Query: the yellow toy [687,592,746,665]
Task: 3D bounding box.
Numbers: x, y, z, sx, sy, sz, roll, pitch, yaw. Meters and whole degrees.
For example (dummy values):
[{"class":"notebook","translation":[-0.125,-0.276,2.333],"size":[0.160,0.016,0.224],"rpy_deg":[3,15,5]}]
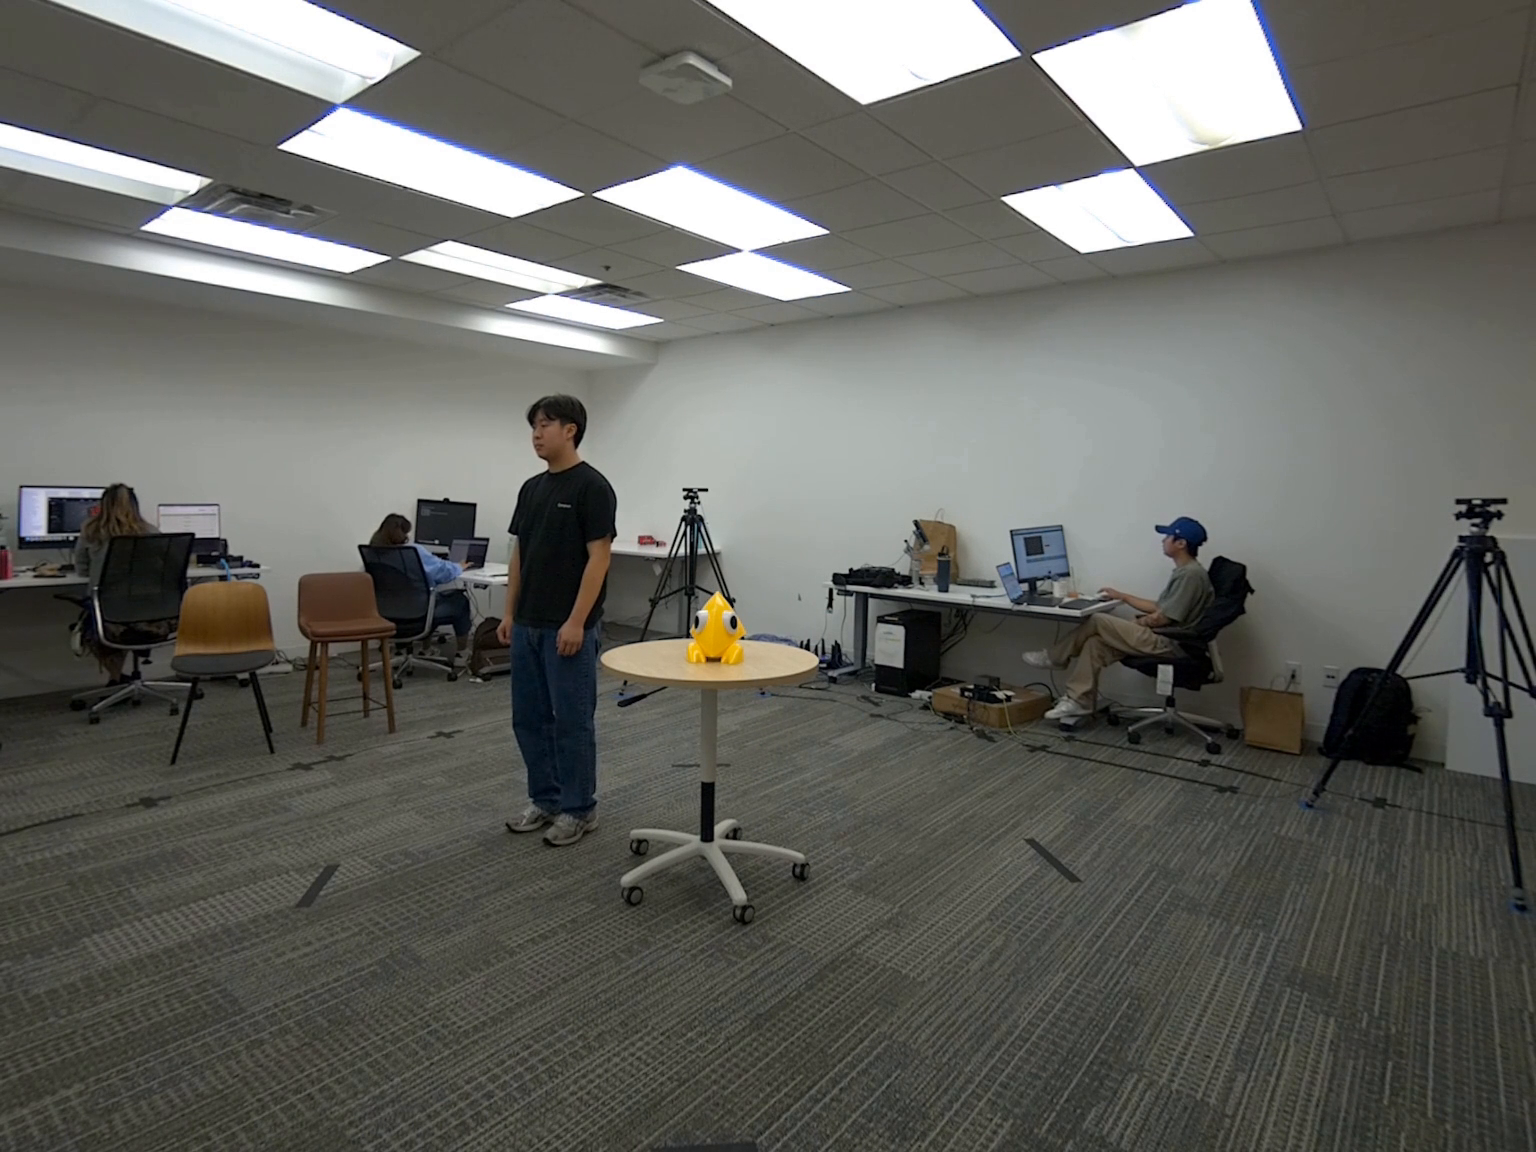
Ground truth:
[{"class":"yellow toy","translation":[-0.193,0.172,2.962],"size":[0.206,0.230,0.193],"rpy_deg":[1,4,4]}]
